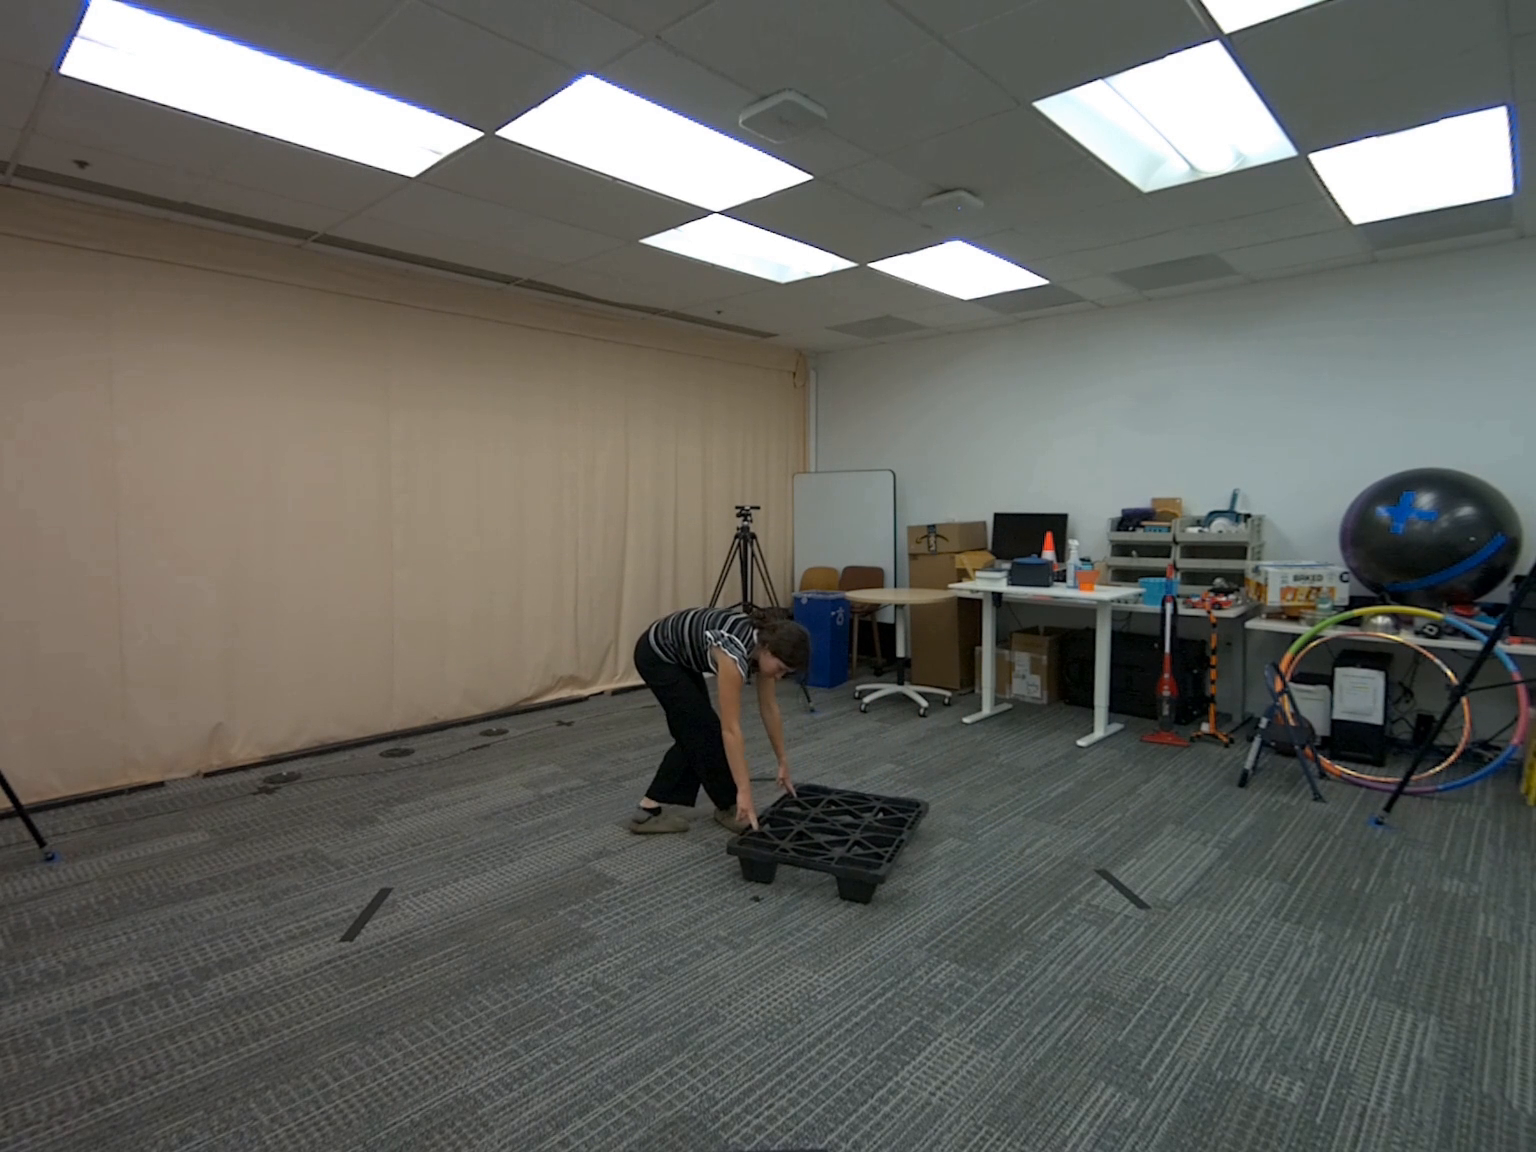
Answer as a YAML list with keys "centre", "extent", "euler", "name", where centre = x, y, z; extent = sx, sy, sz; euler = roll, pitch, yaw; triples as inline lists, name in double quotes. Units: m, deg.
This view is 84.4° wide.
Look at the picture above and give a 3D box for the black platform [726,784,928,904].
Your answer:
- centre: [0.271, 1.040, 3.356]
  extent: [0.620, 0.143, 0.788]
  euler: [3, 6, 23]
  name: "black platform"
